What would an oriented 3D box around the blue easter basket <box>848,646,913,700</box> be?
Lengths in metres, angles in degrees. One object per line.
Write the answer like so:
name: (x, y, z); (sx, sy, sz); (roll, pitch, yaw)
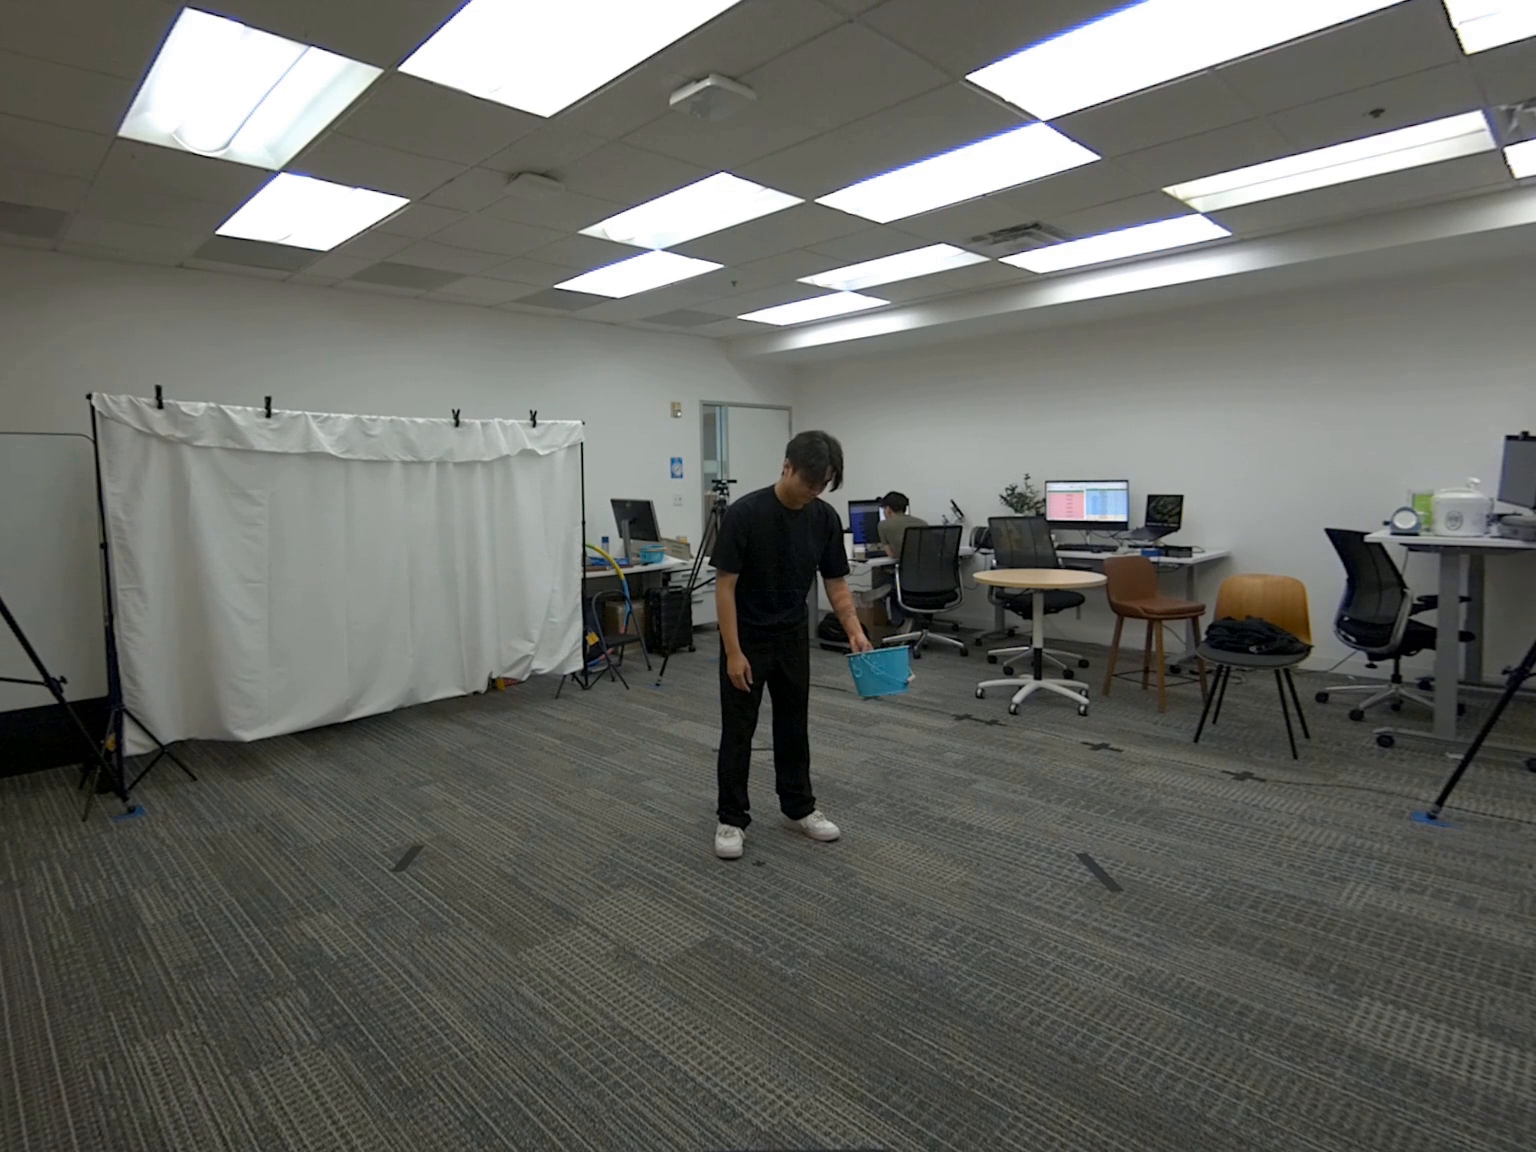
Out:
blue easter basket: (0.411, 0.349, 3.049); (0.243, 0.157, 0.242); (-9, -6, -3)
